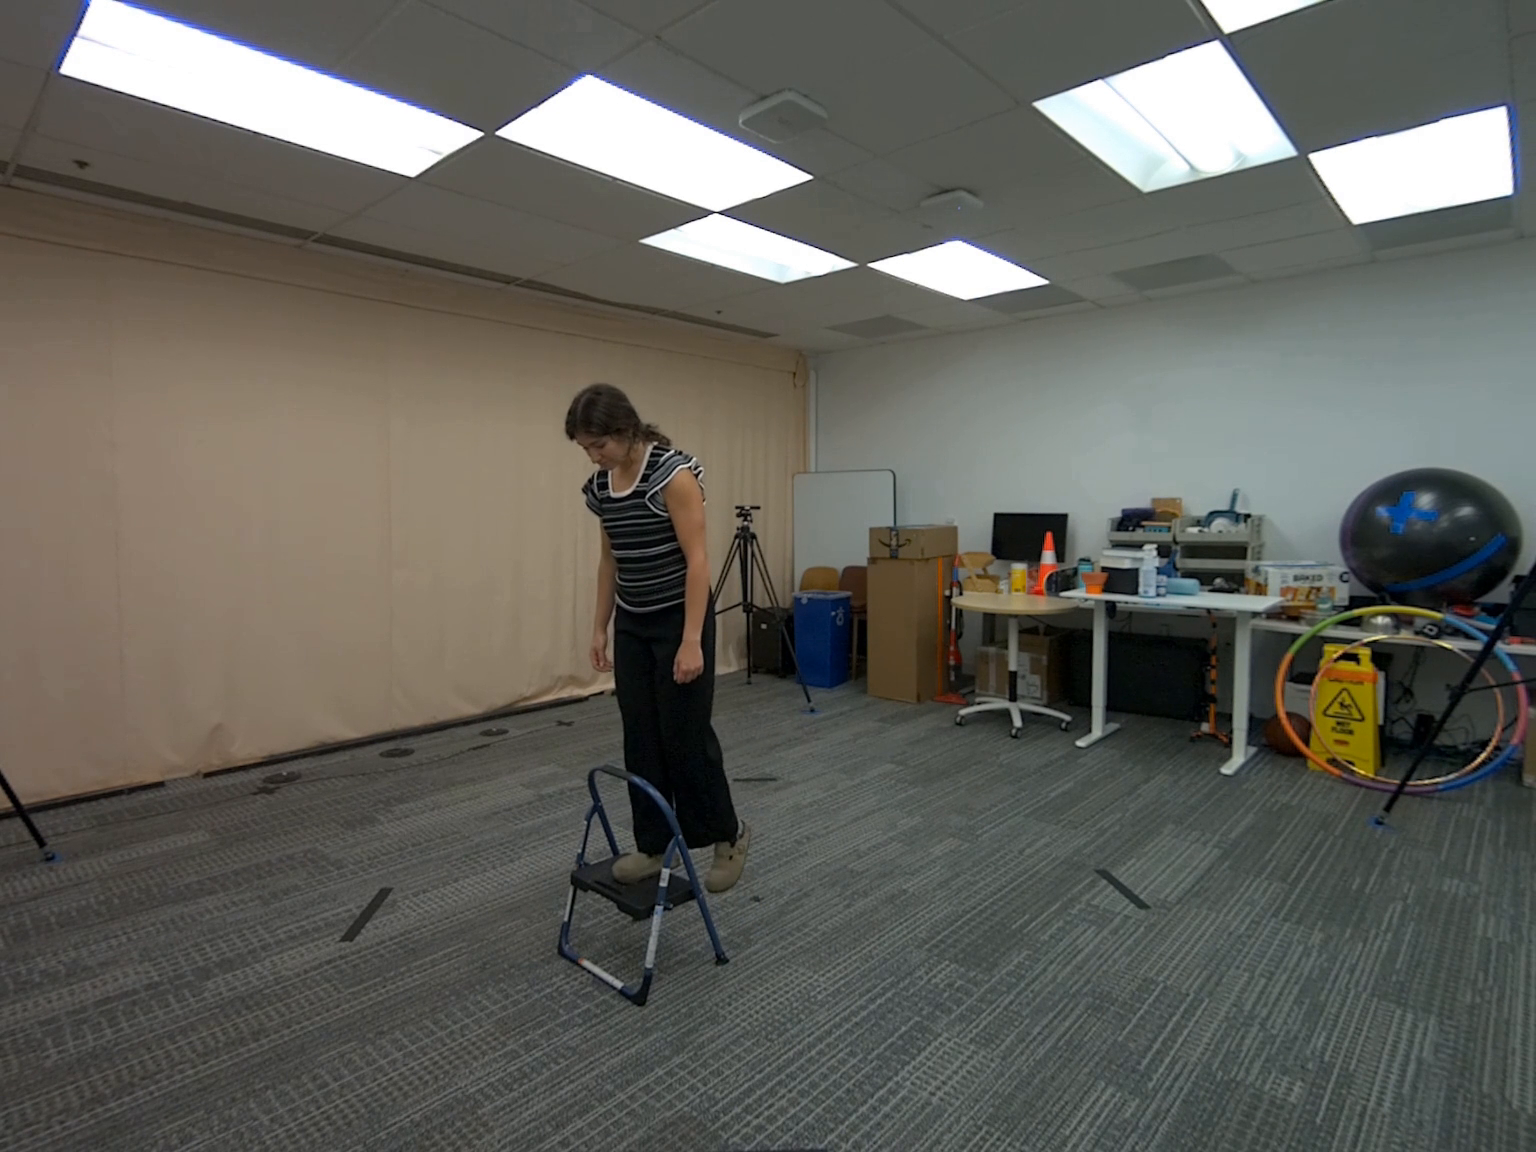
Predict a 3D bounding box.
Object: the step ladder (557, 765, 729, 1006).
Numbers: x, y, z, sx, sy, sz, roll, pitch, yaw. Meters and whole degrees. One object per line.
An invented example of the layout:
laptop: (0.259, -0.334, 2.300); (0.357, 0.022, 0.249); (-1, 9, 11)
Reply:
step ladder: (-0.393, 0.878, 2.586); (0.445, 0.605, 0.338); (3, 4, 42)
